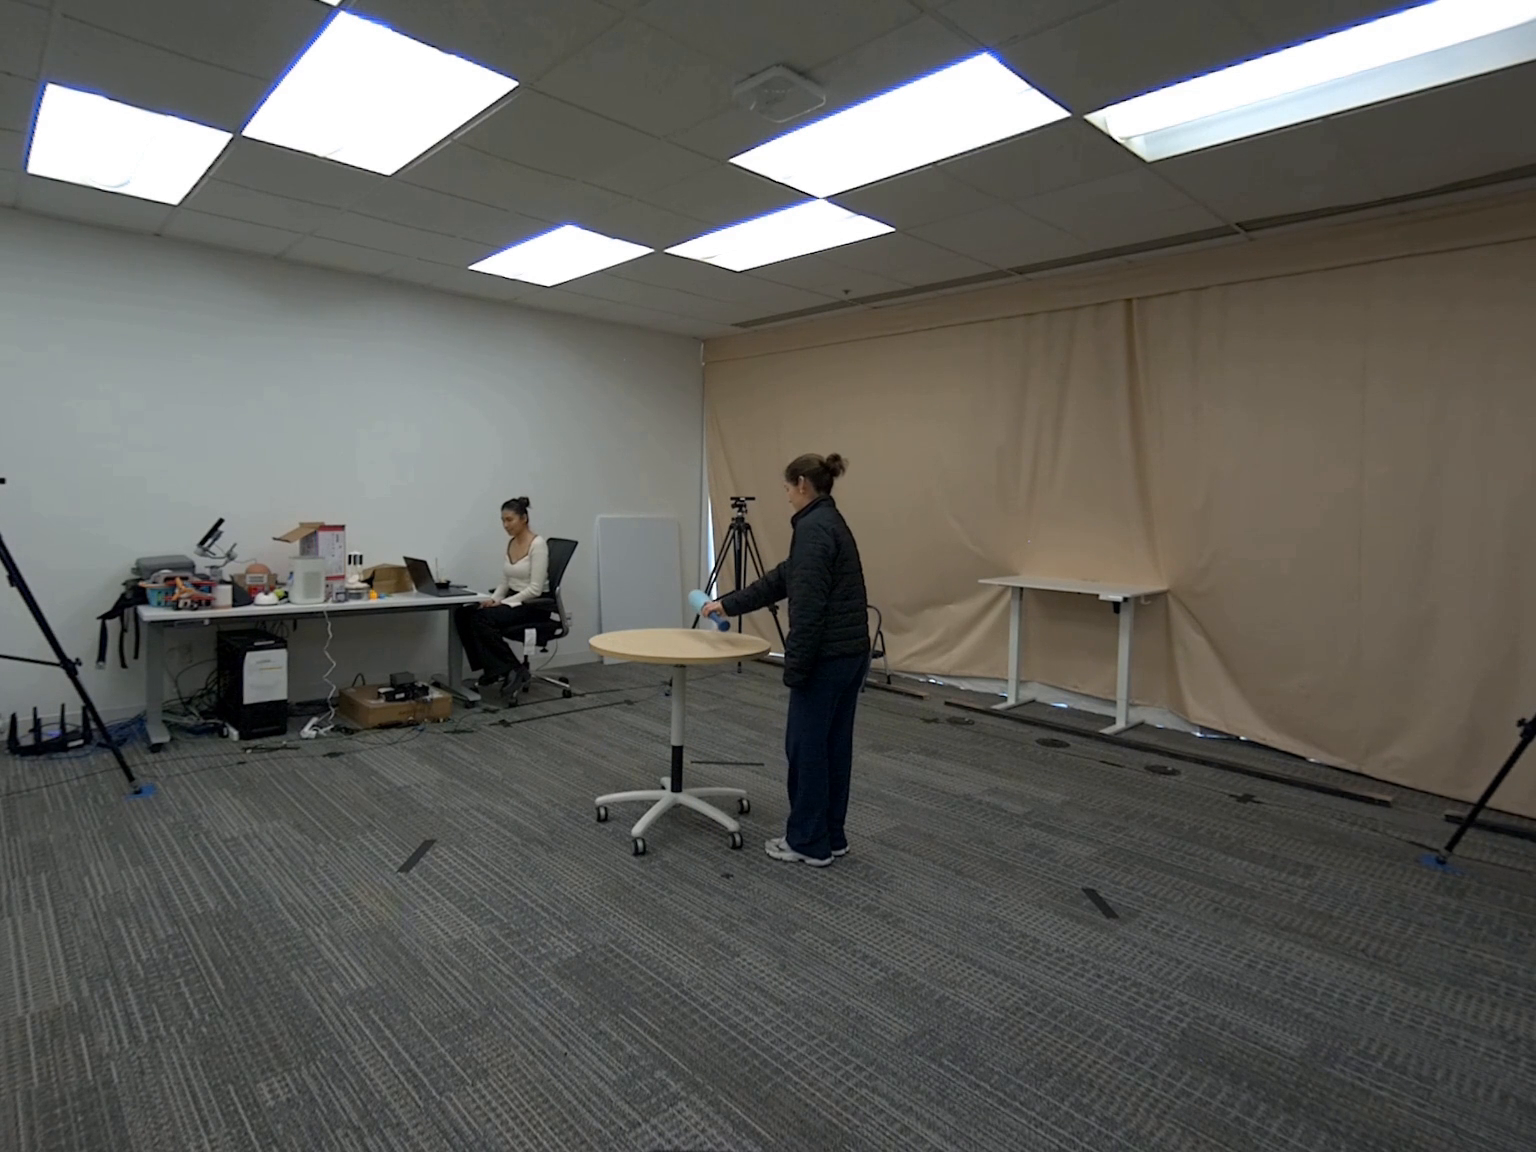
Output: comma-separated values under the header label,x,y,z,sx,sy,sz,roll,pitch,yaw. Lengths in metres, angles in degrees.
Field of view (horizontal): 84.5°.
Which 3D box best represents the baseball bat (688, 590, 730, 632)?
label,x,y,z,sx,sy,sz,roll,pitch,yaw
baseball bat,-0.280,0.163,3.656,0.088,0.088,0.552,0,13,-12
